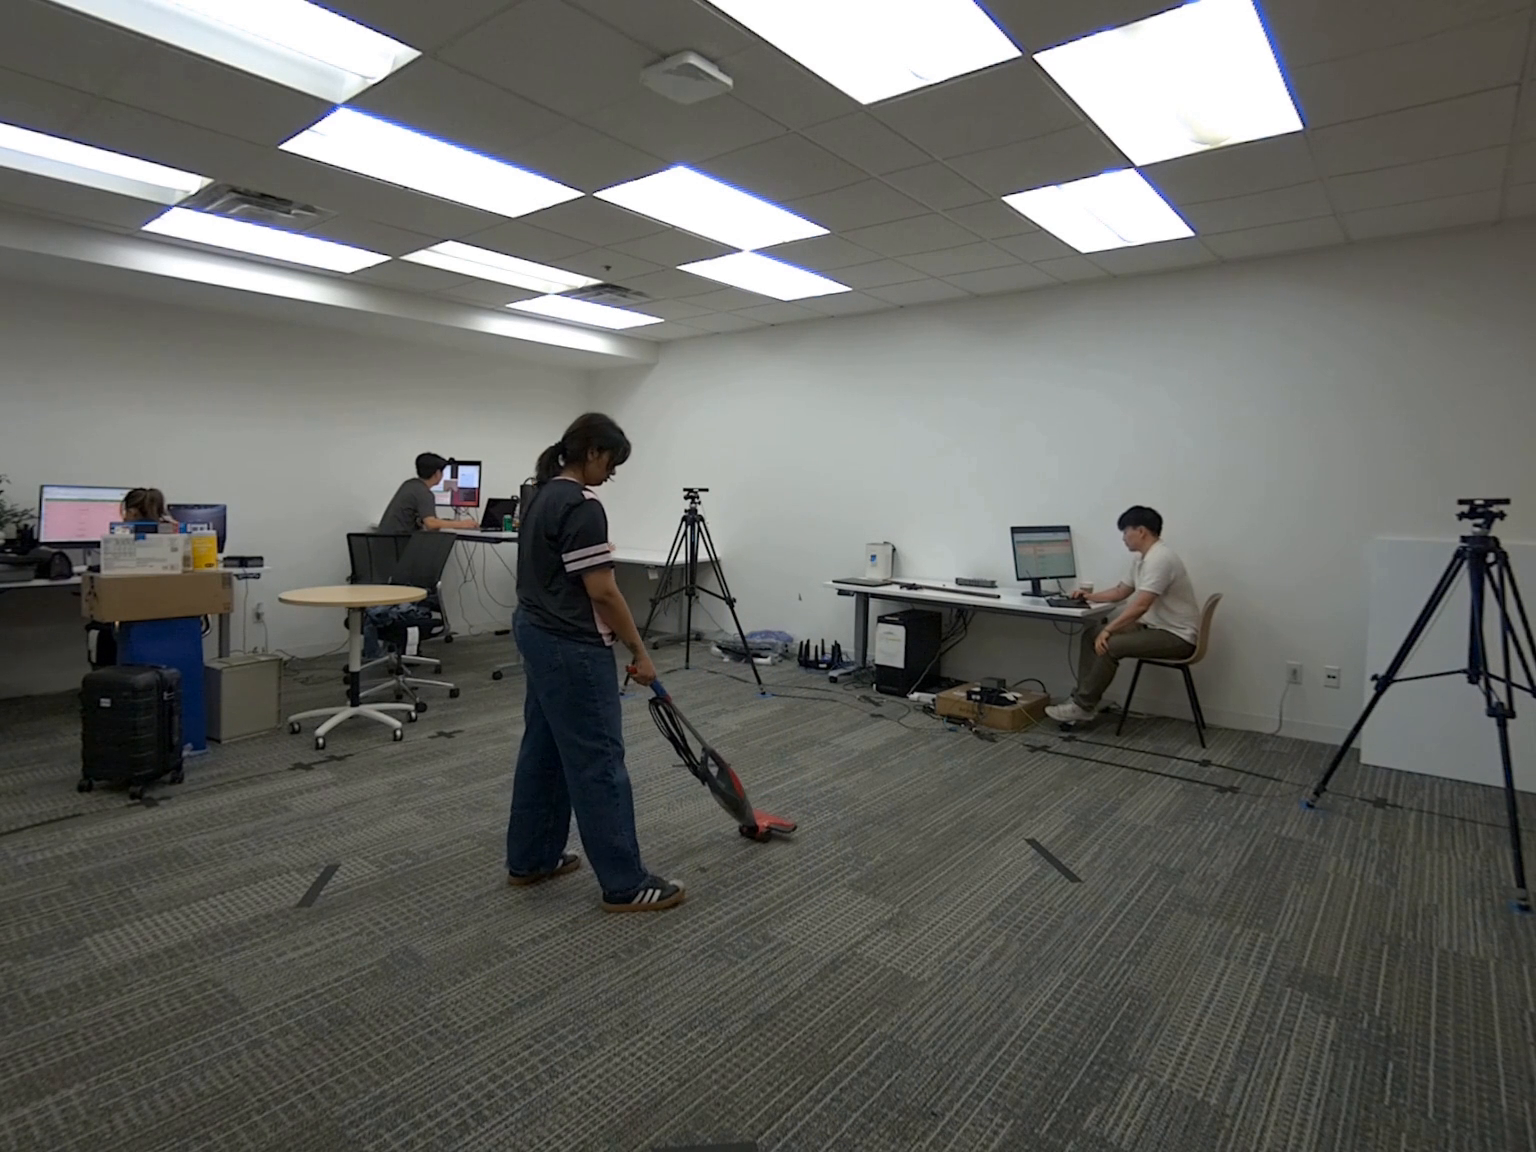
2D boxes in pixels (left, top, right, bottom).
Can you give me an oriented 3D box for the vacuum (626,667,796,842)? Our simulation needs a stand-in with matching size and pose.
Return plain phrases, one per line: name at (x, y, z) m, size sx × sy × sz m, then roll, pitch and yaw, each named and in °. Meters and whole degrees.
vacuum at (-0.253, 0.669, 3.155) m, size 0.260 × 1.010 × 0.145 m, roll -1°, pitch 46°, yaw 39°
